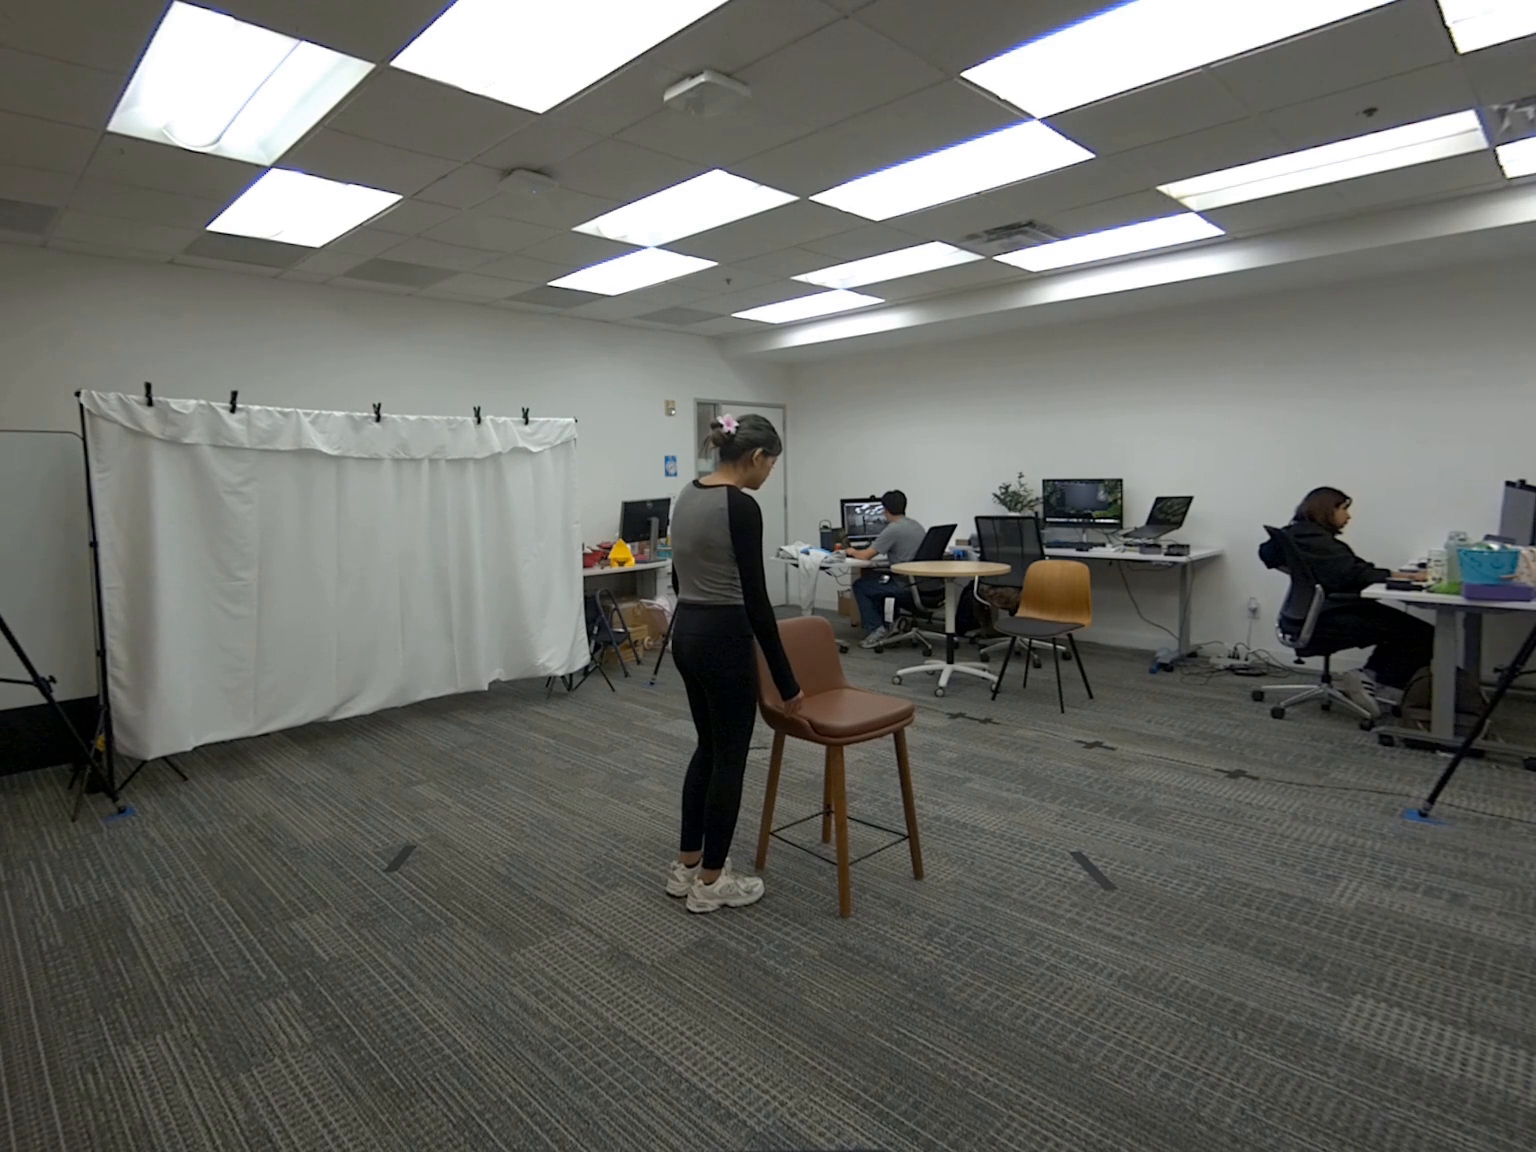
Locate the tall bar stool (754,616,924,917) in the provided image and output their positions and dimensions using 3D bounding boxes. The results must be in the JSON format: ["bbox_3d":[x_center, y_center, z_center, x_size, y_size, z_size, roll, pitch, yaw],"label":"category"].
[{"bbox_3d":[0.240,0.617,2.988,0.444,0.888,0.481,-4,3,-42],"label":"tall bar stool"}]
